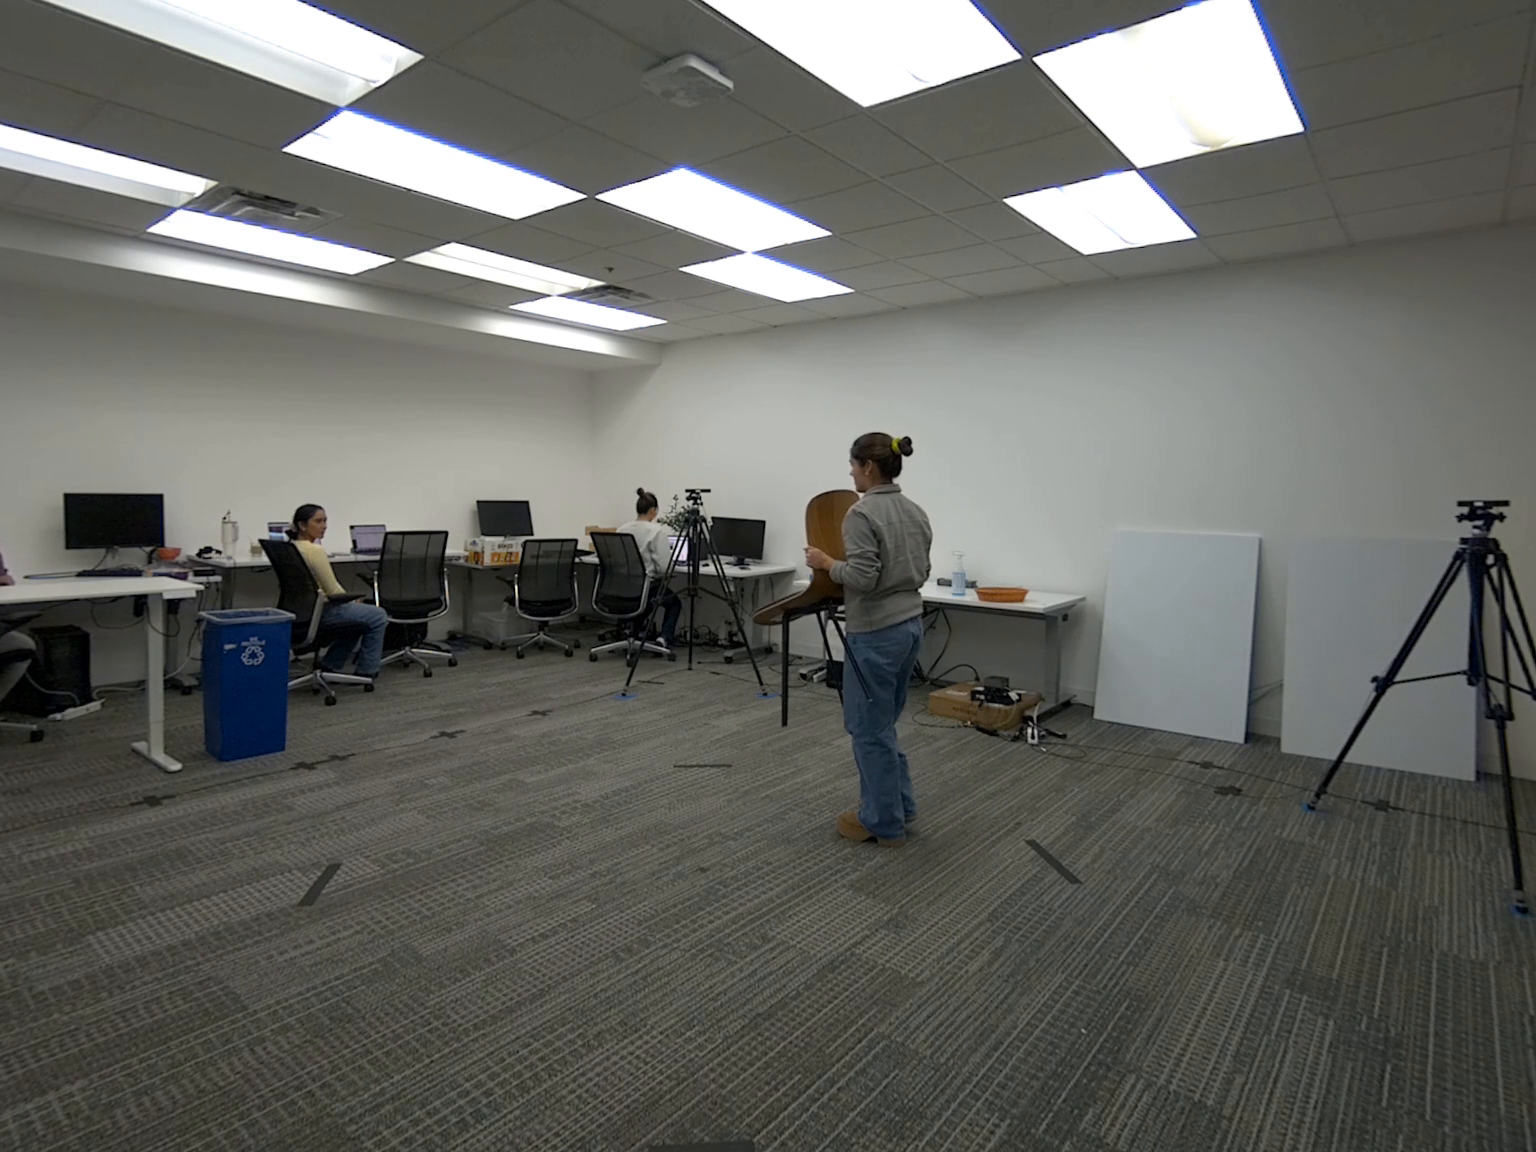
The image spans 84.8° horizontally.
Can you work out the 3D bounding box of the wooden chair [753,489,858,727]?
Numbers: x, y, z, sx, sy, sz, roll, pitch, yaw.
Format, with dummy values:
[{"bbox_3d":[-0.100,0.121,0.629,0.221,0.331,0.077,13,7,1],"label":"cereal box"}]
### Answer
[{"bbox_3d":[0.212,0.136,3.600,0.532,0.888,0.464,-22,-13,40],"label":"wooden chair"}]
